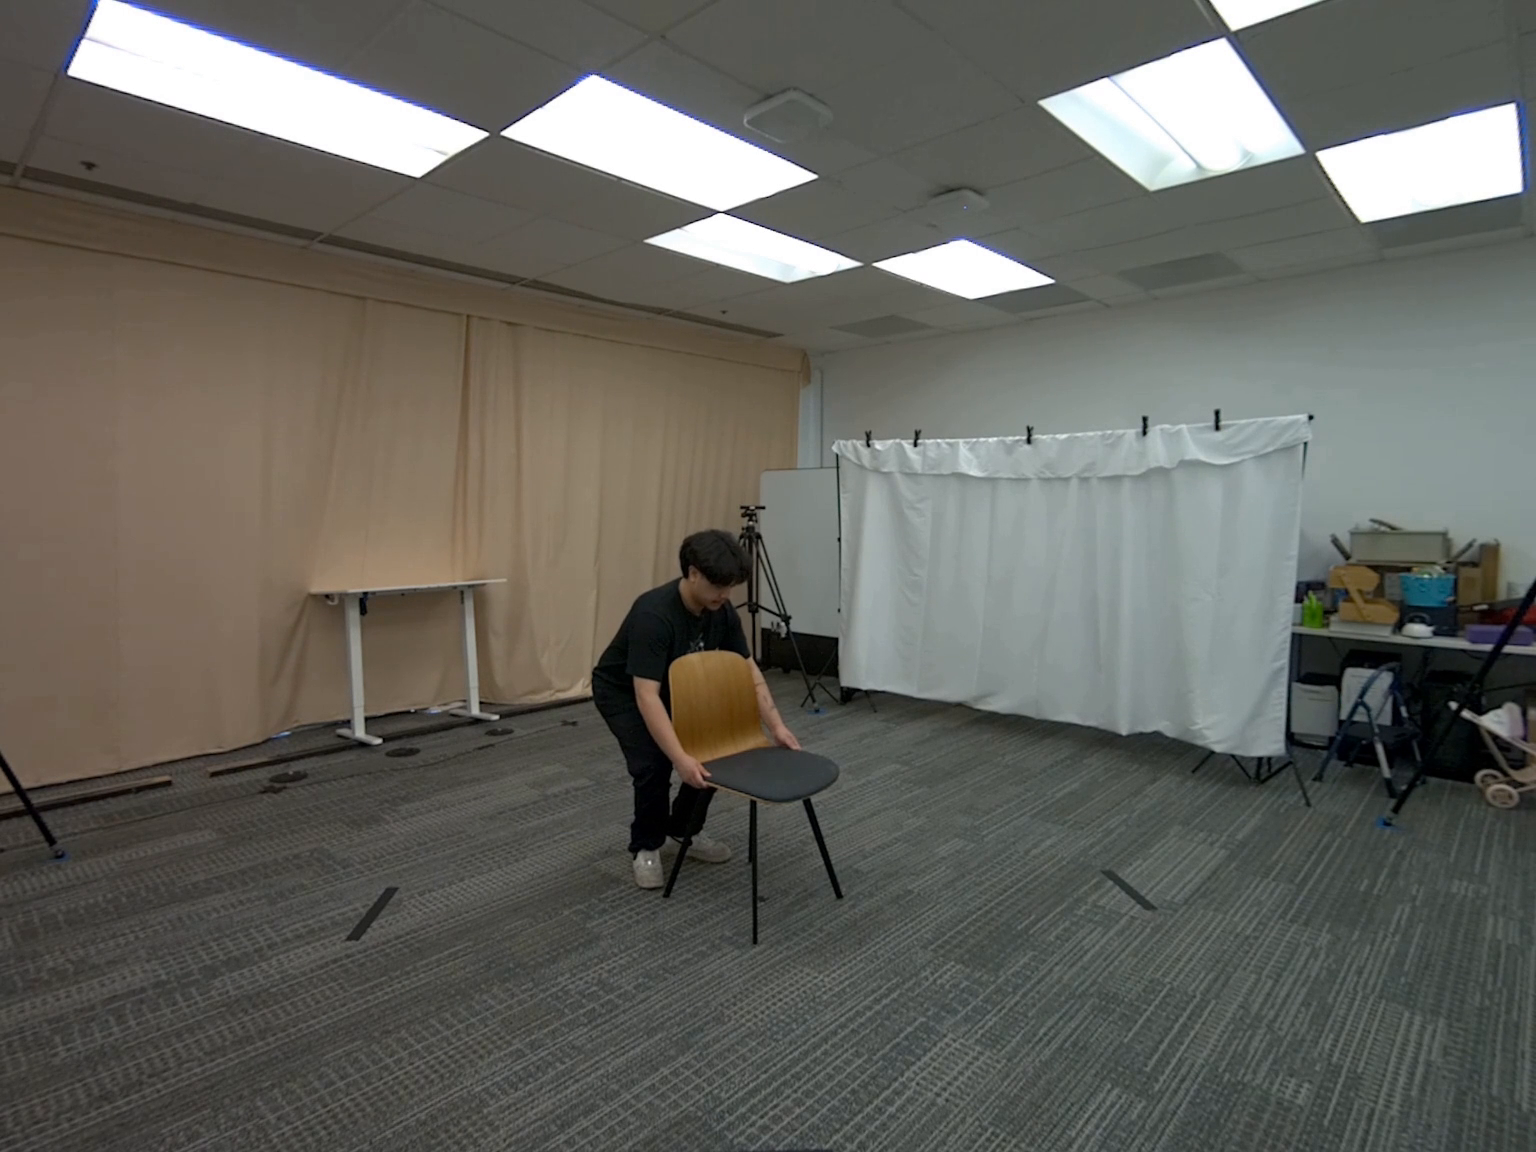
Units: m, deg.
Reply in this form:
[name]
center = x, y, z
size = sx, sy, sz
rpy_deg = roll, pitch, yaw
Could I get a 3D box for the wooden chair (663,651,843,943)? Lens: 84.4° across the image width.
[wooden chair]
center = -0.039, 0.724, 2.951
size = 0.539, 0.878, 0.463
rpy_deg = -4, -1, 44
